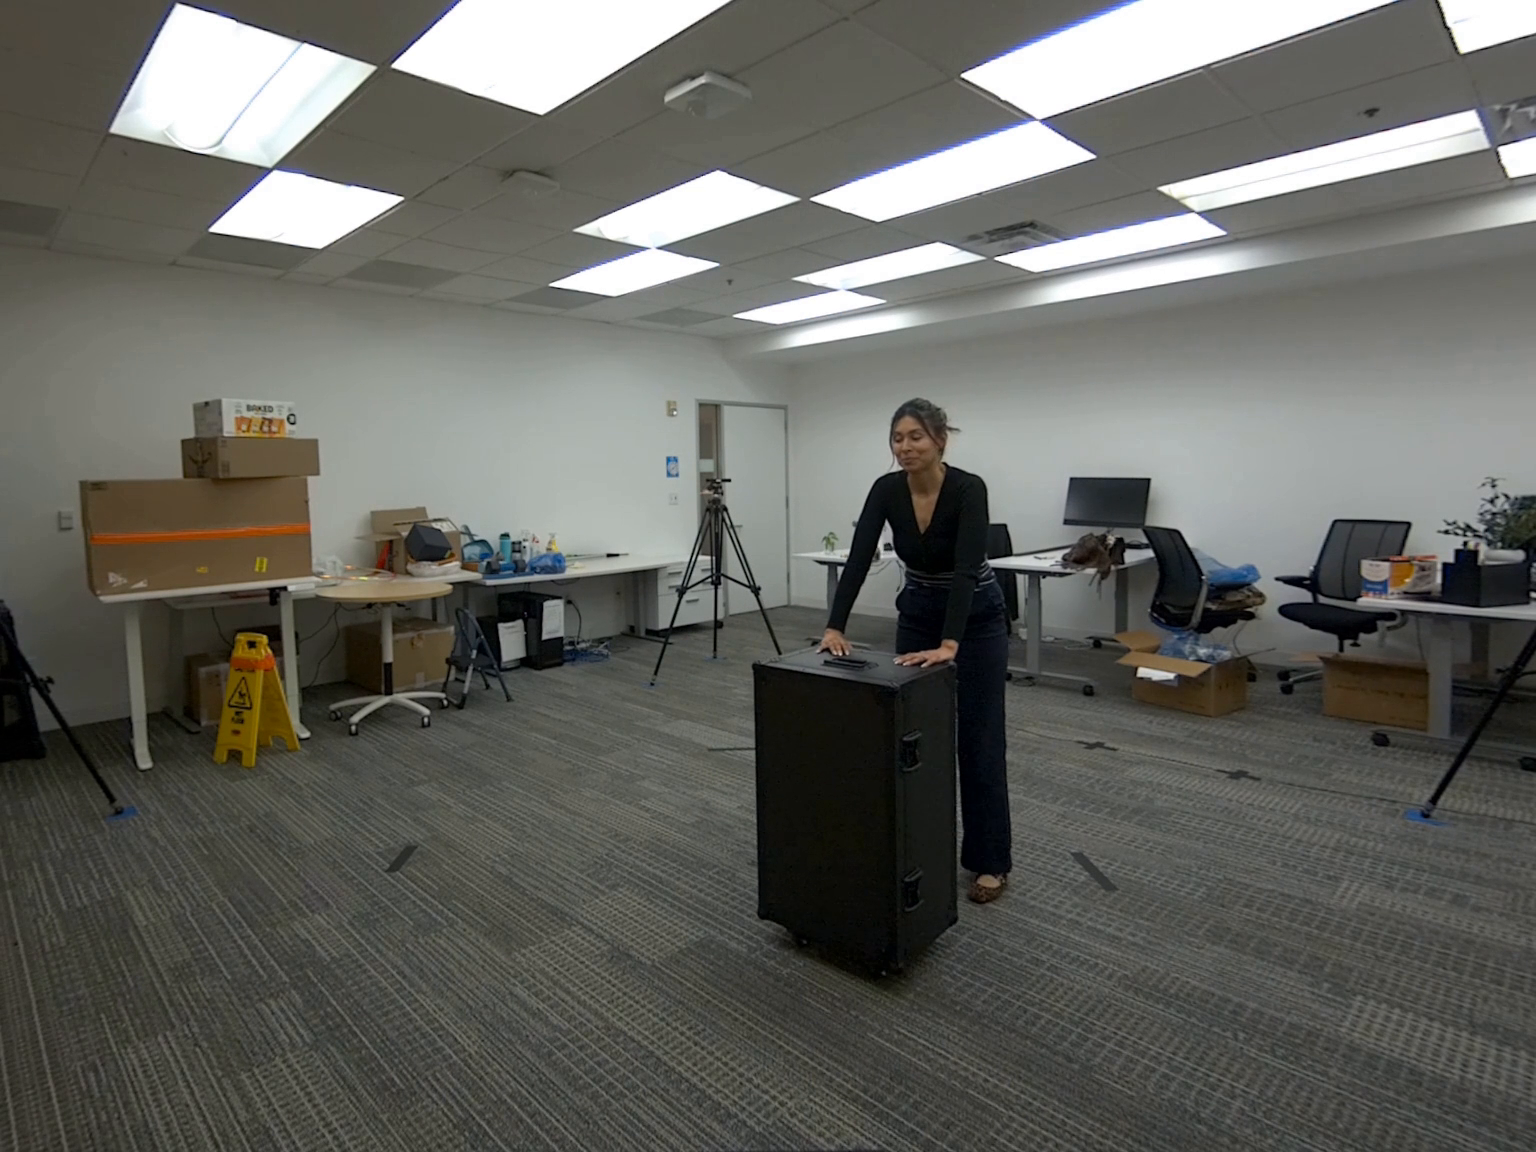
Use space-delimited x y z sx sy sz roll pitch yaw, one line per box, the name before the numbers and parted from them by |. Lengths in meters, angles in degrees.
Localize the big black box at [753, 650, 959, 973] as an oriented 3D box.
big black box | 0.268 0.676 2.548 0.537 0.858 0.386 2 5 40
